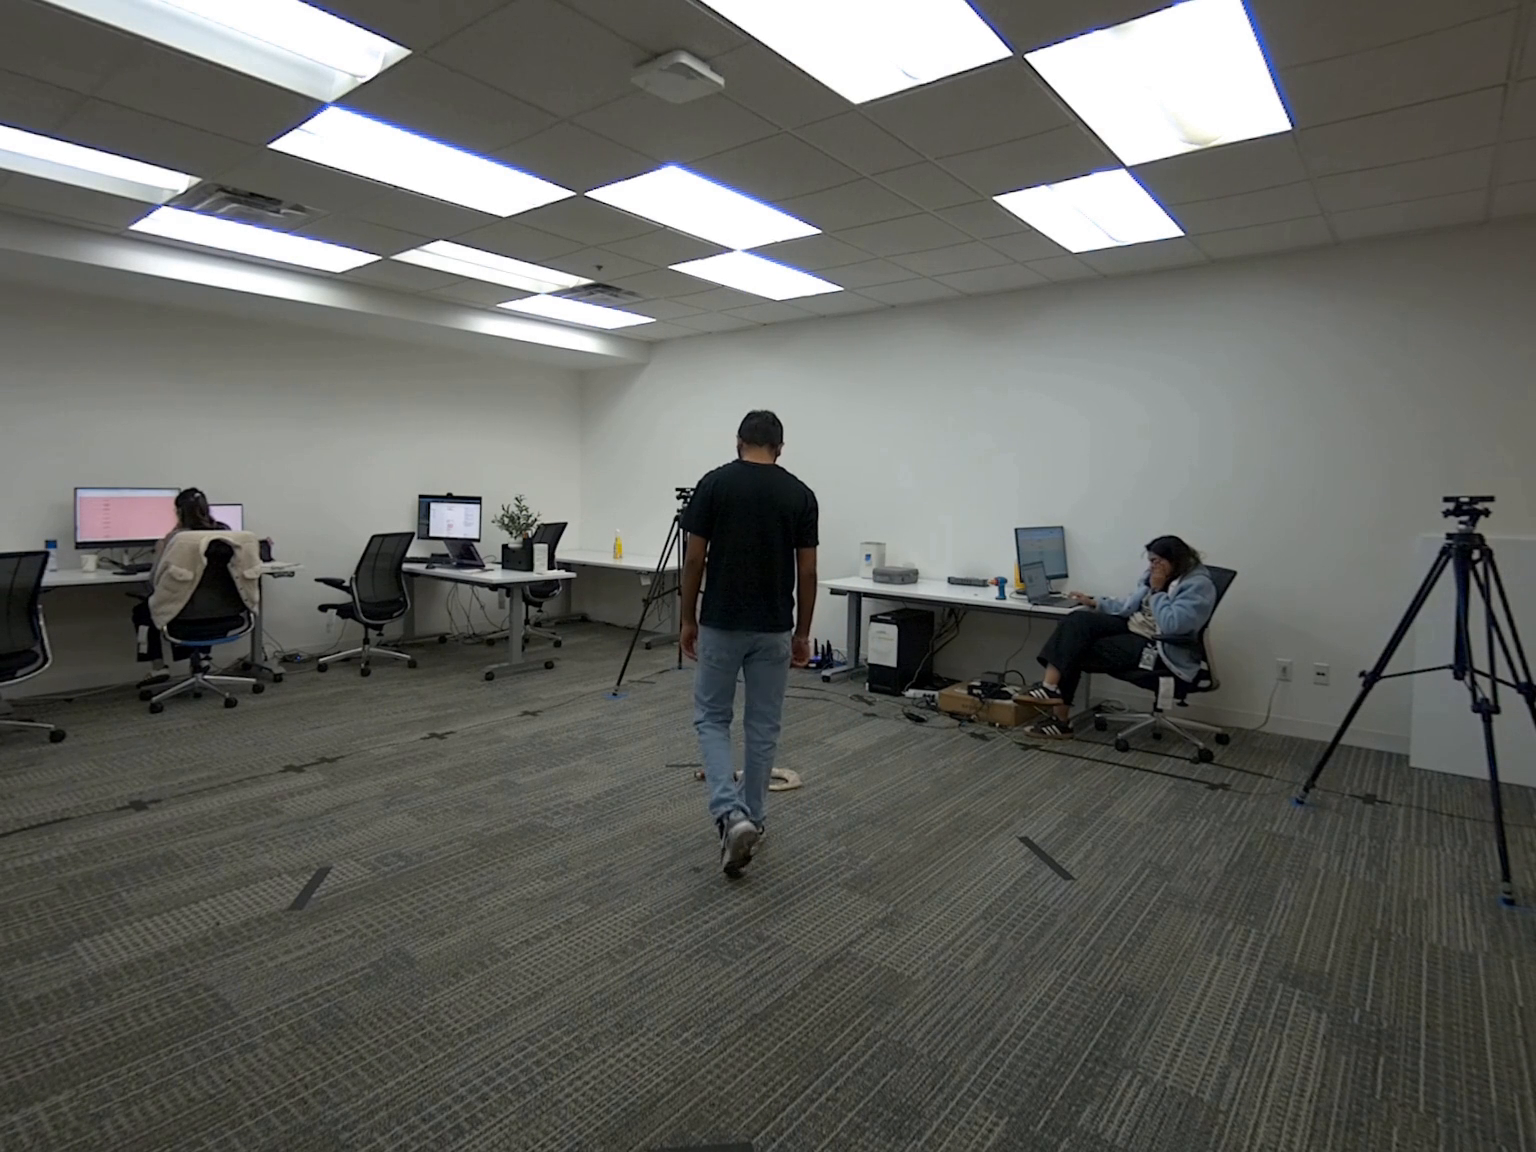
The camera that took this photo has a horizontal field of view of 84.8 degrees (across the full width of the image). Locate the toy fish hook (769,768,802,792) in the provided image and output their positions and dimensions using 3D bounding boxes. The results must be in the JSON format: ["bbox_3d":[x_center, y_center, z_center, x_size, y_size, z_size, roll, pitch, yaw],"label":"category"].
[{"bbox_3d":[-0.103,0.954,4.028,0.505,0.048,0.226,0,5,-4],"label":"toy fish hook"}]
